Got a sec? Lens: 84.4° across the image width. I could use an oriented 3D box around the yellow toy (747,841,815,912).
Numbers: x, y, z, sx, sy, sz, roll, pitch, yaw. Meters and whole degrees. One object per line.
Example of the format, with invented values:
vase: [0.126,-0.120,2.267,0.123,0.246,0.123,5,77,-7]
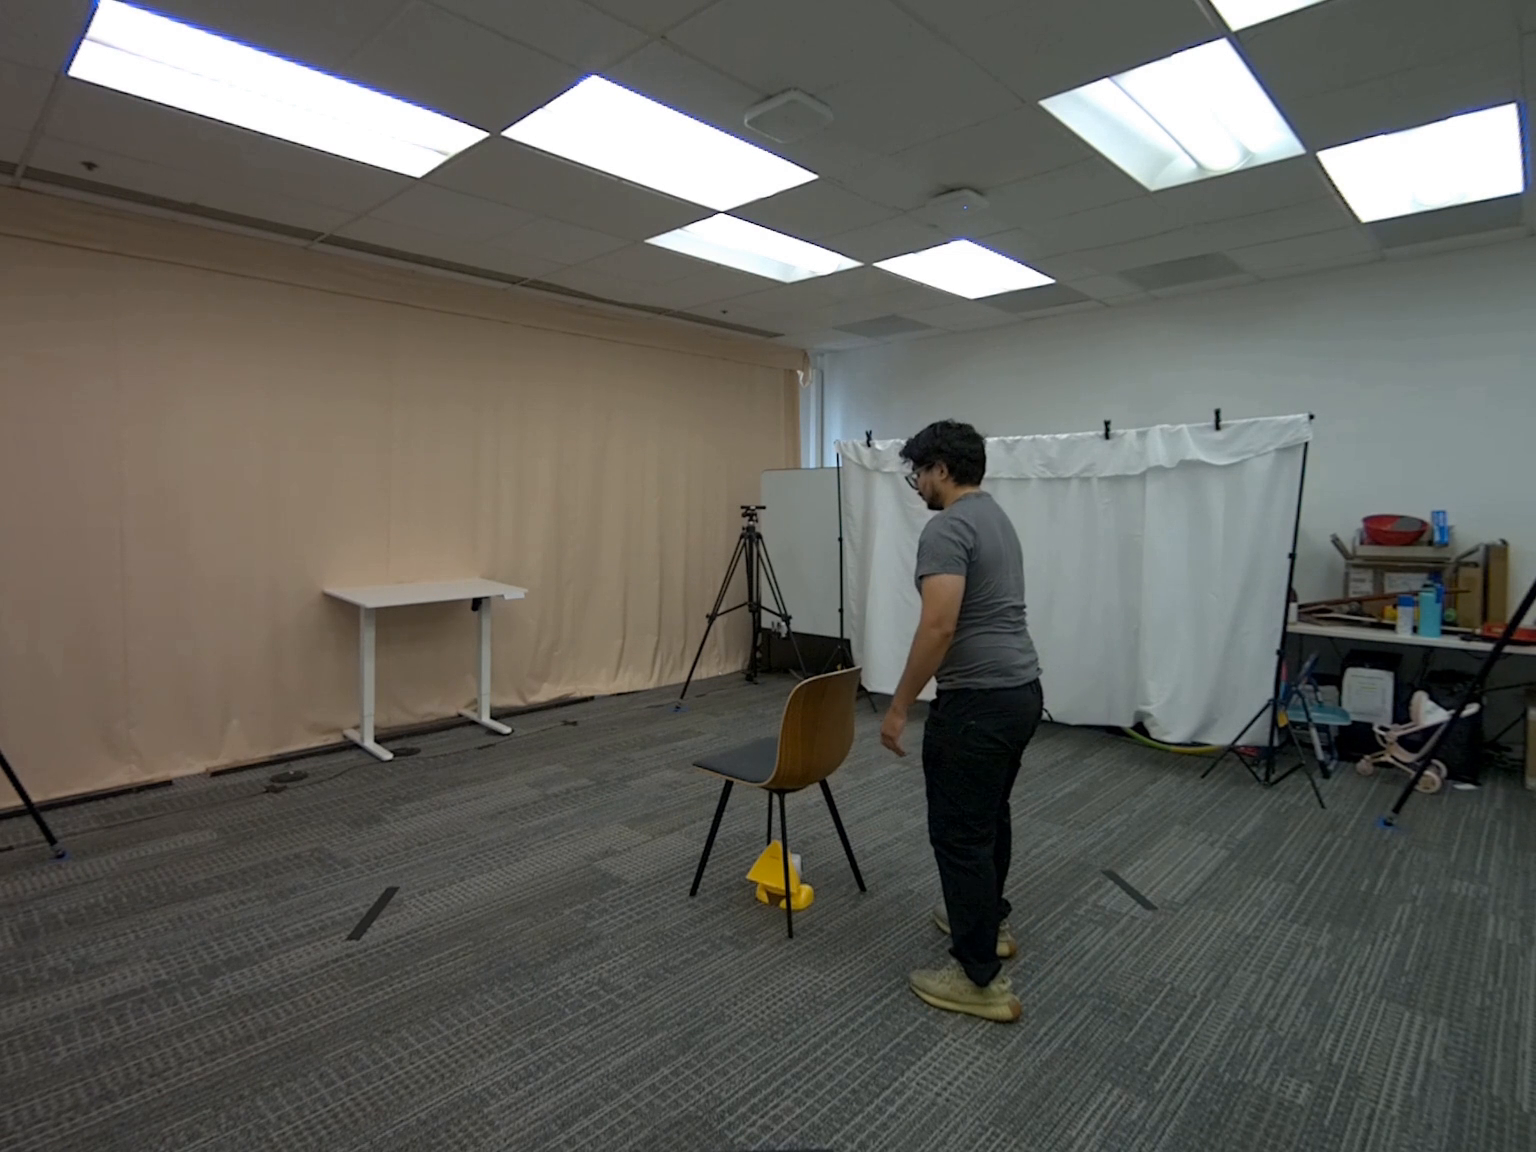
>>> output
yellow toy: [0.061,1.029,2.979,0.211,0.230,0.188,3,5,34]
